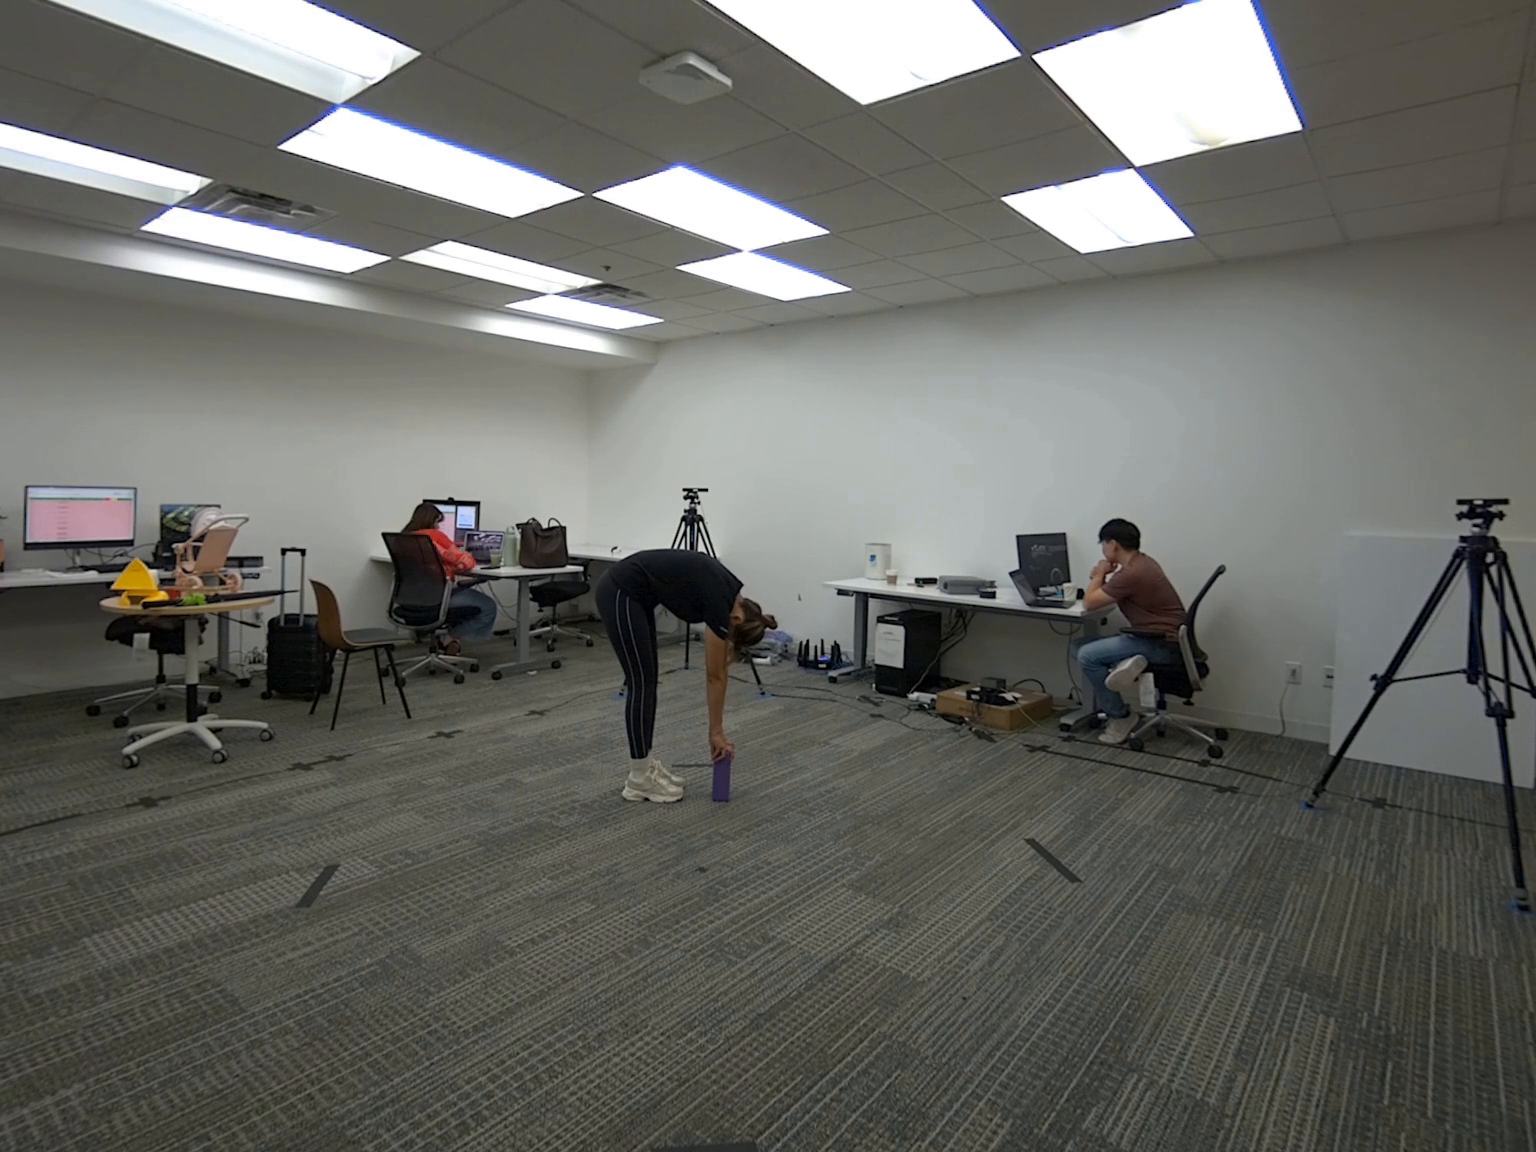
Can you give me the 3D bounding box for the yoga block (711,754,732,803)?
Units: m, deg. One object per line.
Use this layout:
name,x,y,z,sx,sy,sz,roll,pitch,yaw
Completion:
yoga block,-0.218,0.890,3.858,0.076,0.228,0.150,0,5,-4
